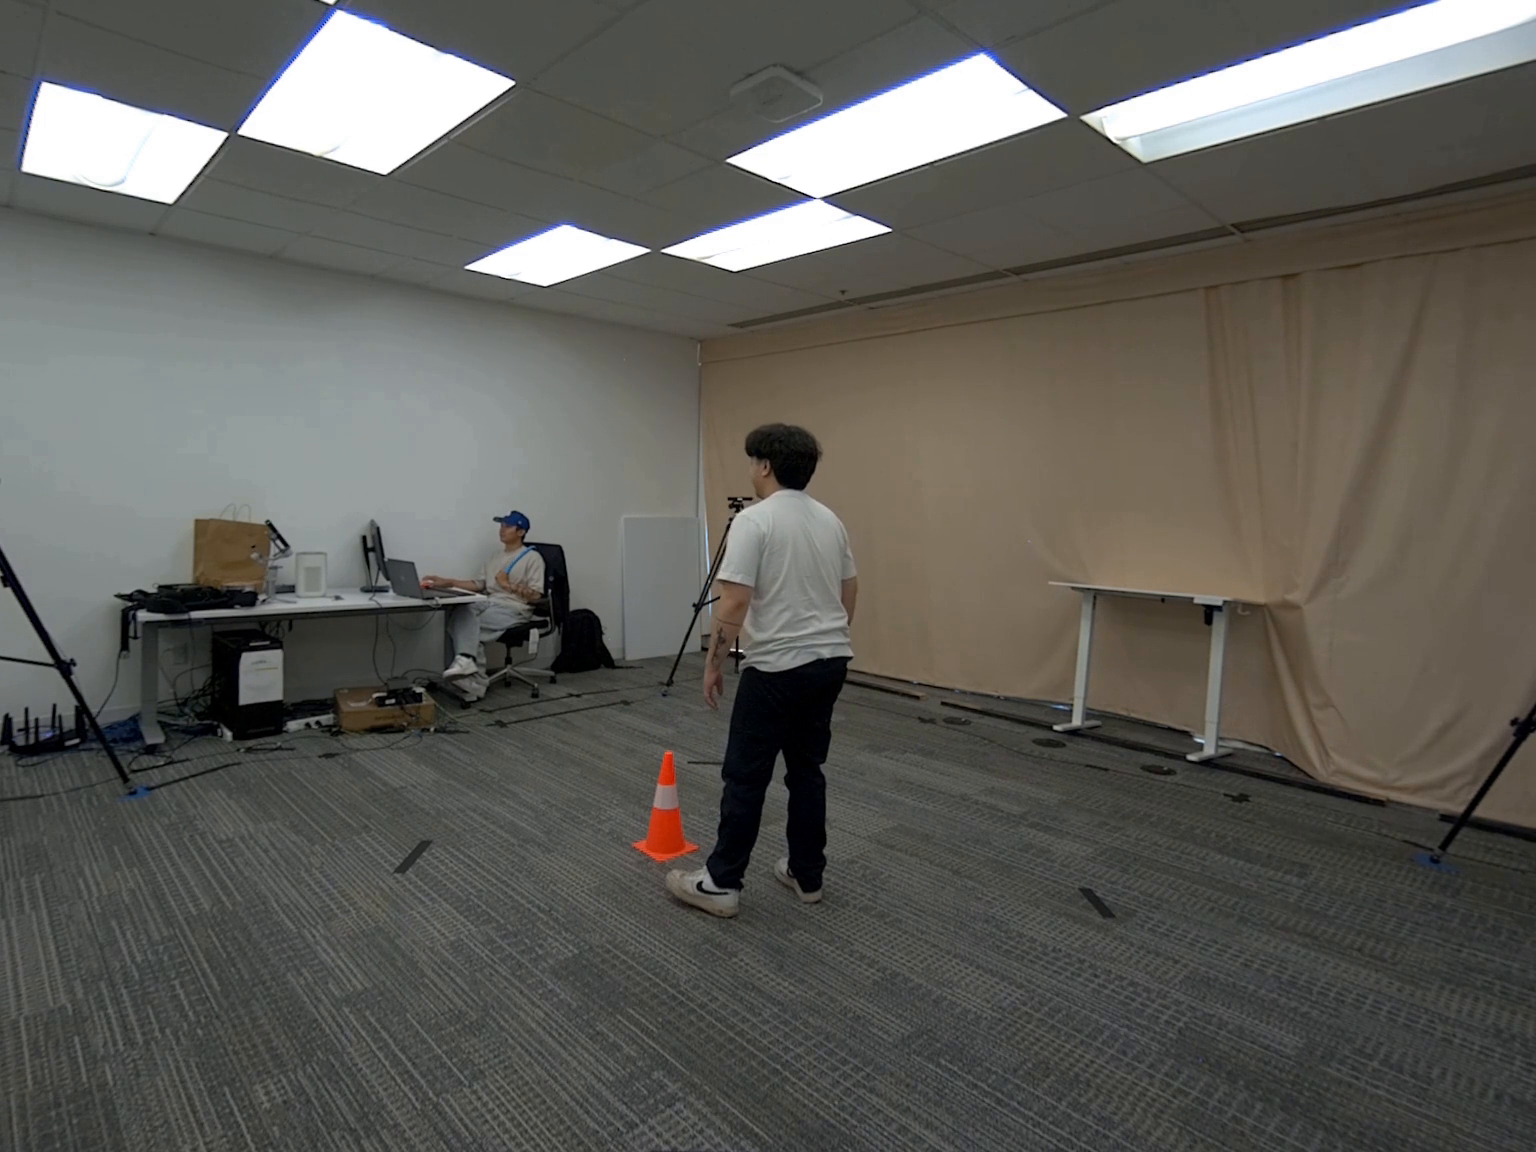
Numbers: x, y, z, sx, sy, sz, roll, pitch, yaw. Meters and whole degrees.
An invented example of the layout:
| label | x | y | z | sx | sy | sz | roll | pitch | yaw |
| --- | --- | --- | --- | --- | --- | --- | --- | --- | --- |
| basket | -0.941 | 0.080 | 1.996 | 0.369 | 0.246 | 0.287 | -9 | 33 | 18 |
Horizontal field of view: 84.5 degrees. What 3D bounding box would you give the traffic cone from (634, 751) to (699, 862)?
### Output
| label | x | y | z | sx | sy | sz | roll | pitch | yaw |
| --- | --- | --- | --- | --- | --- | --- | --- | --- | --- |
| traffic cone | -0.409 | 0.890 | 3.347 | 0.200 | 0.383 | 0.208 | 0 | 4 | -40 |
